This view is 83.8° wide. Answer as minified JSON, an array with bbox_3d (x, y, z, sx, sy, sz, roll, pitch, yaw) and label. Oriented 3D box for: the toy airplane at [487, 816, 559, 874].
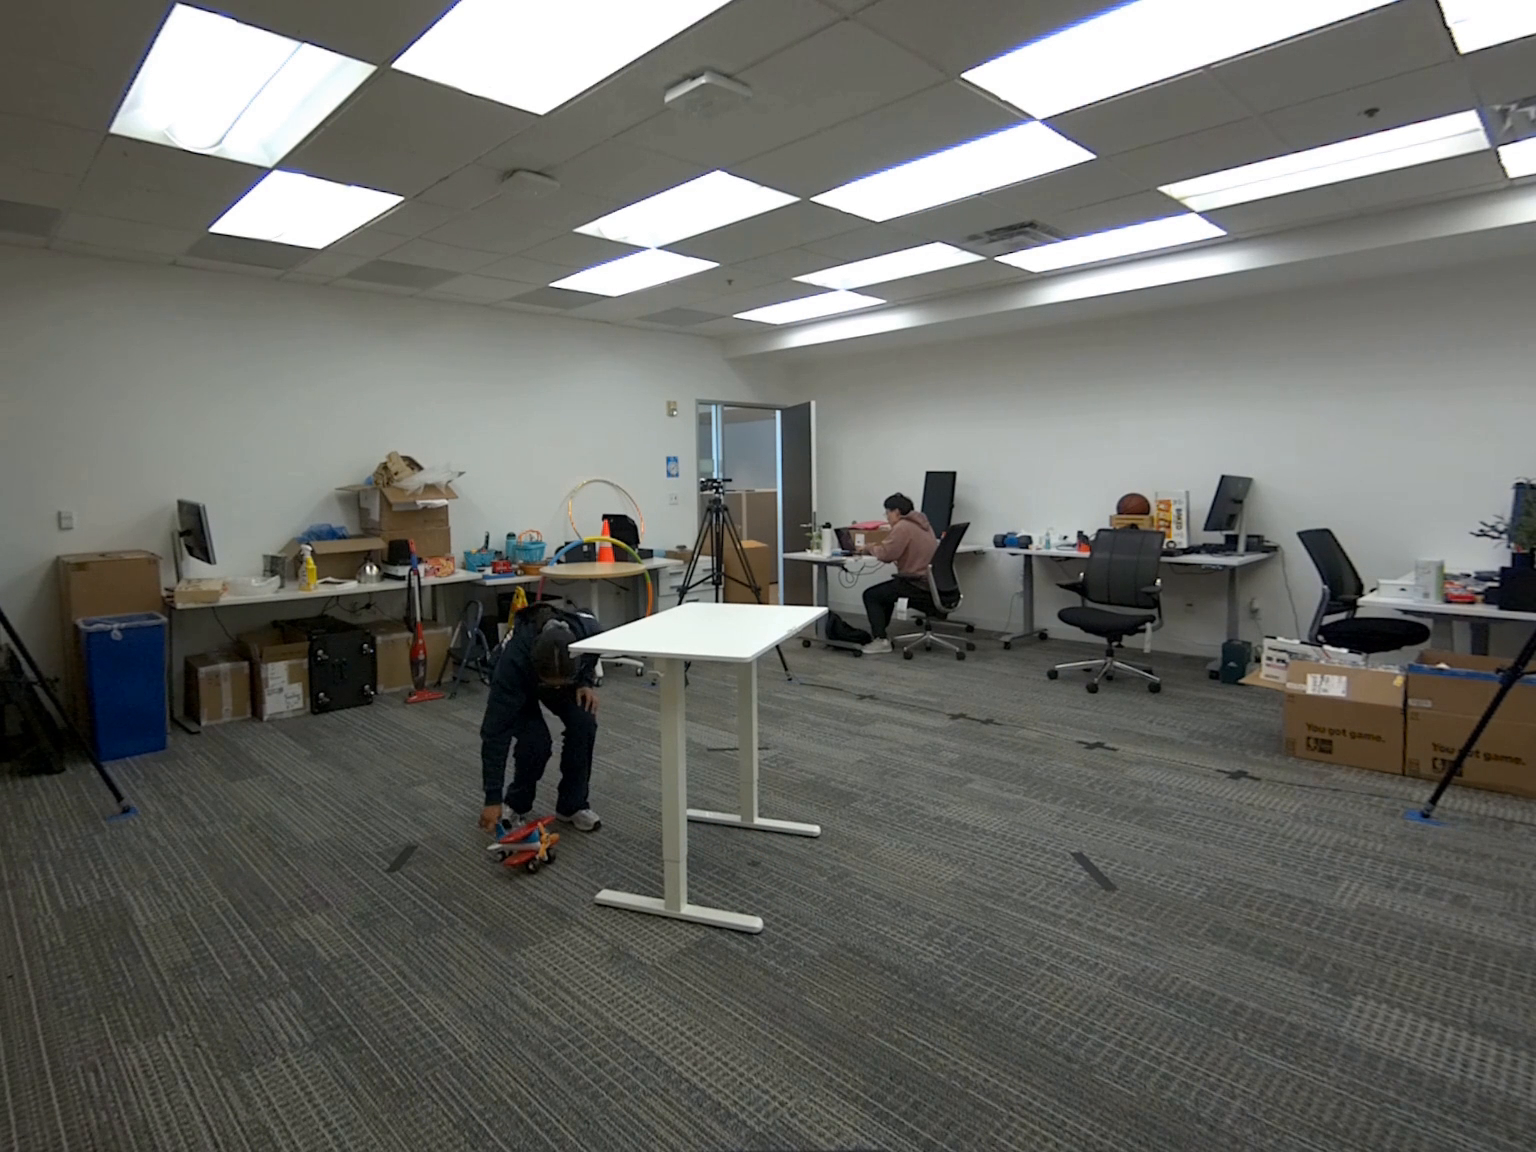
[{"bbox_3d":[-0.913,0.991,3.113,0.259,0.156,0.252,1,5,-2],"label":"toy airplane"}]
